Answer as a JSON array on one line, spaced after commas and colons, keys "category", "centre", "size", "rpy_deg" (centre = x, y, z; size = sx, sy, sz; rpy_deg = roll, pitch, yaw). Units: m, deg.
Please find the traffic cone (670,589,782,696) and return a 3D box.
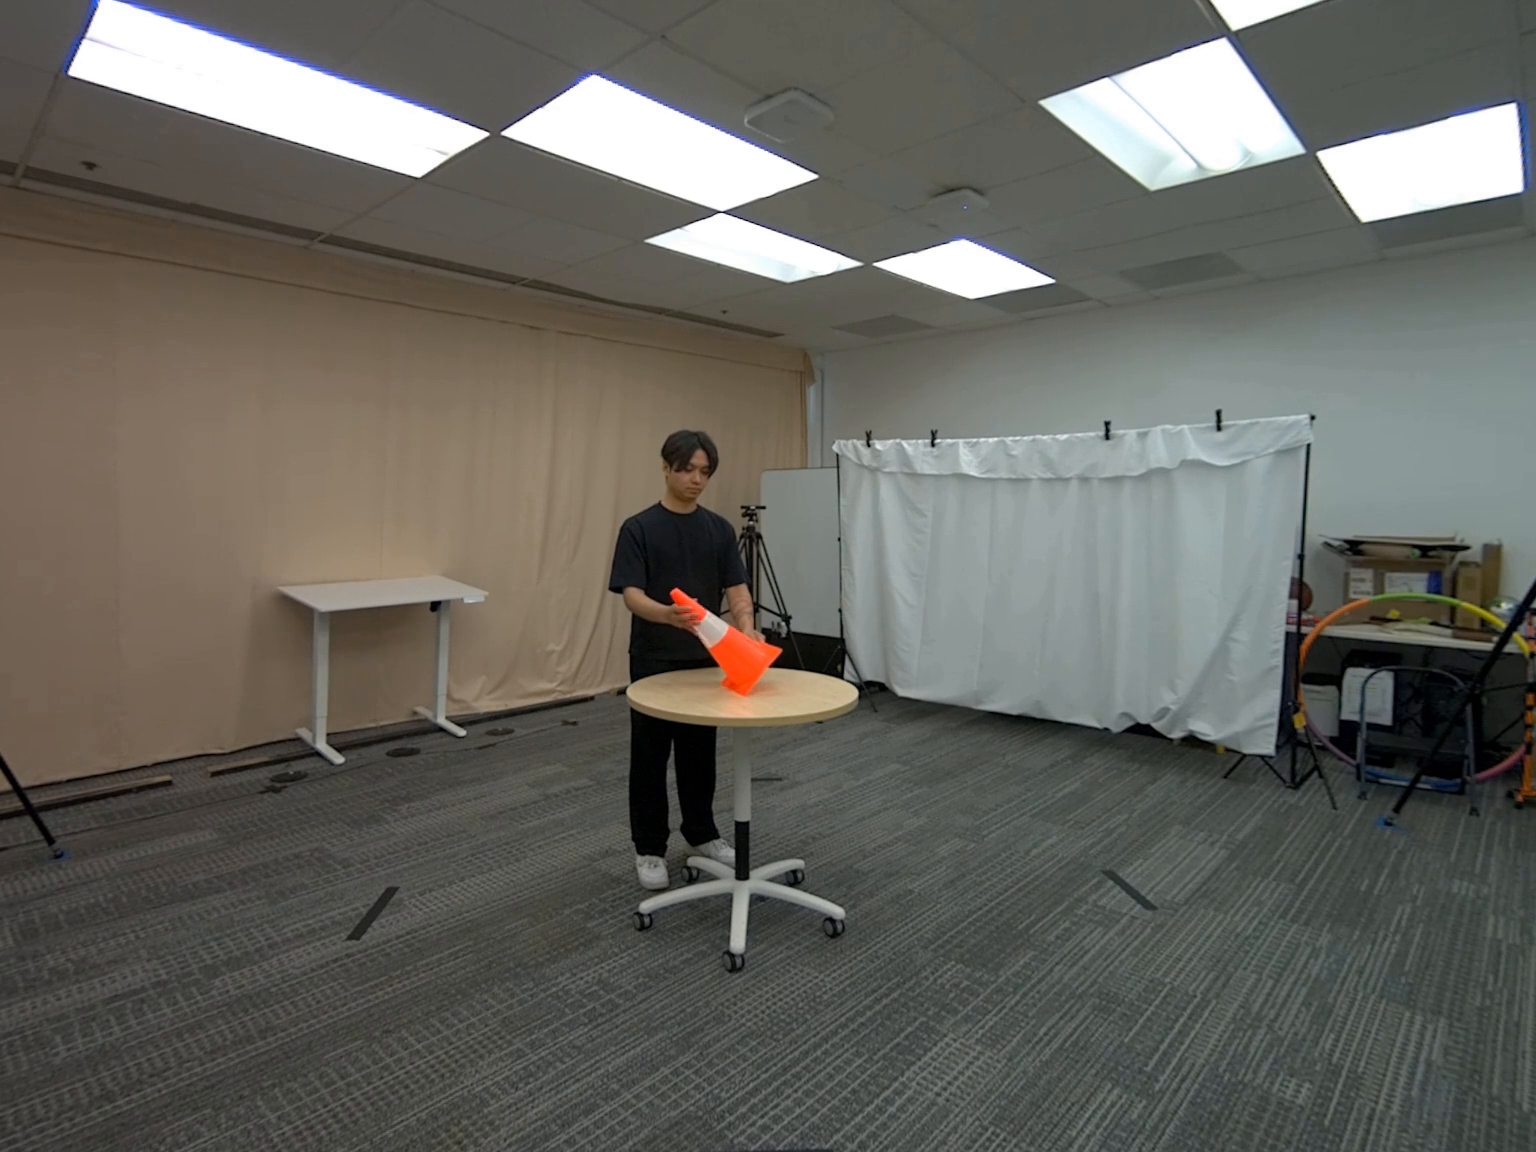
[{"category": "traffic cone", "centre": [-0.171, 0.184, 2.750], "size": [0.203, 0.377, 0.209], "rpy_deg": [-47, 16, -10]}]
